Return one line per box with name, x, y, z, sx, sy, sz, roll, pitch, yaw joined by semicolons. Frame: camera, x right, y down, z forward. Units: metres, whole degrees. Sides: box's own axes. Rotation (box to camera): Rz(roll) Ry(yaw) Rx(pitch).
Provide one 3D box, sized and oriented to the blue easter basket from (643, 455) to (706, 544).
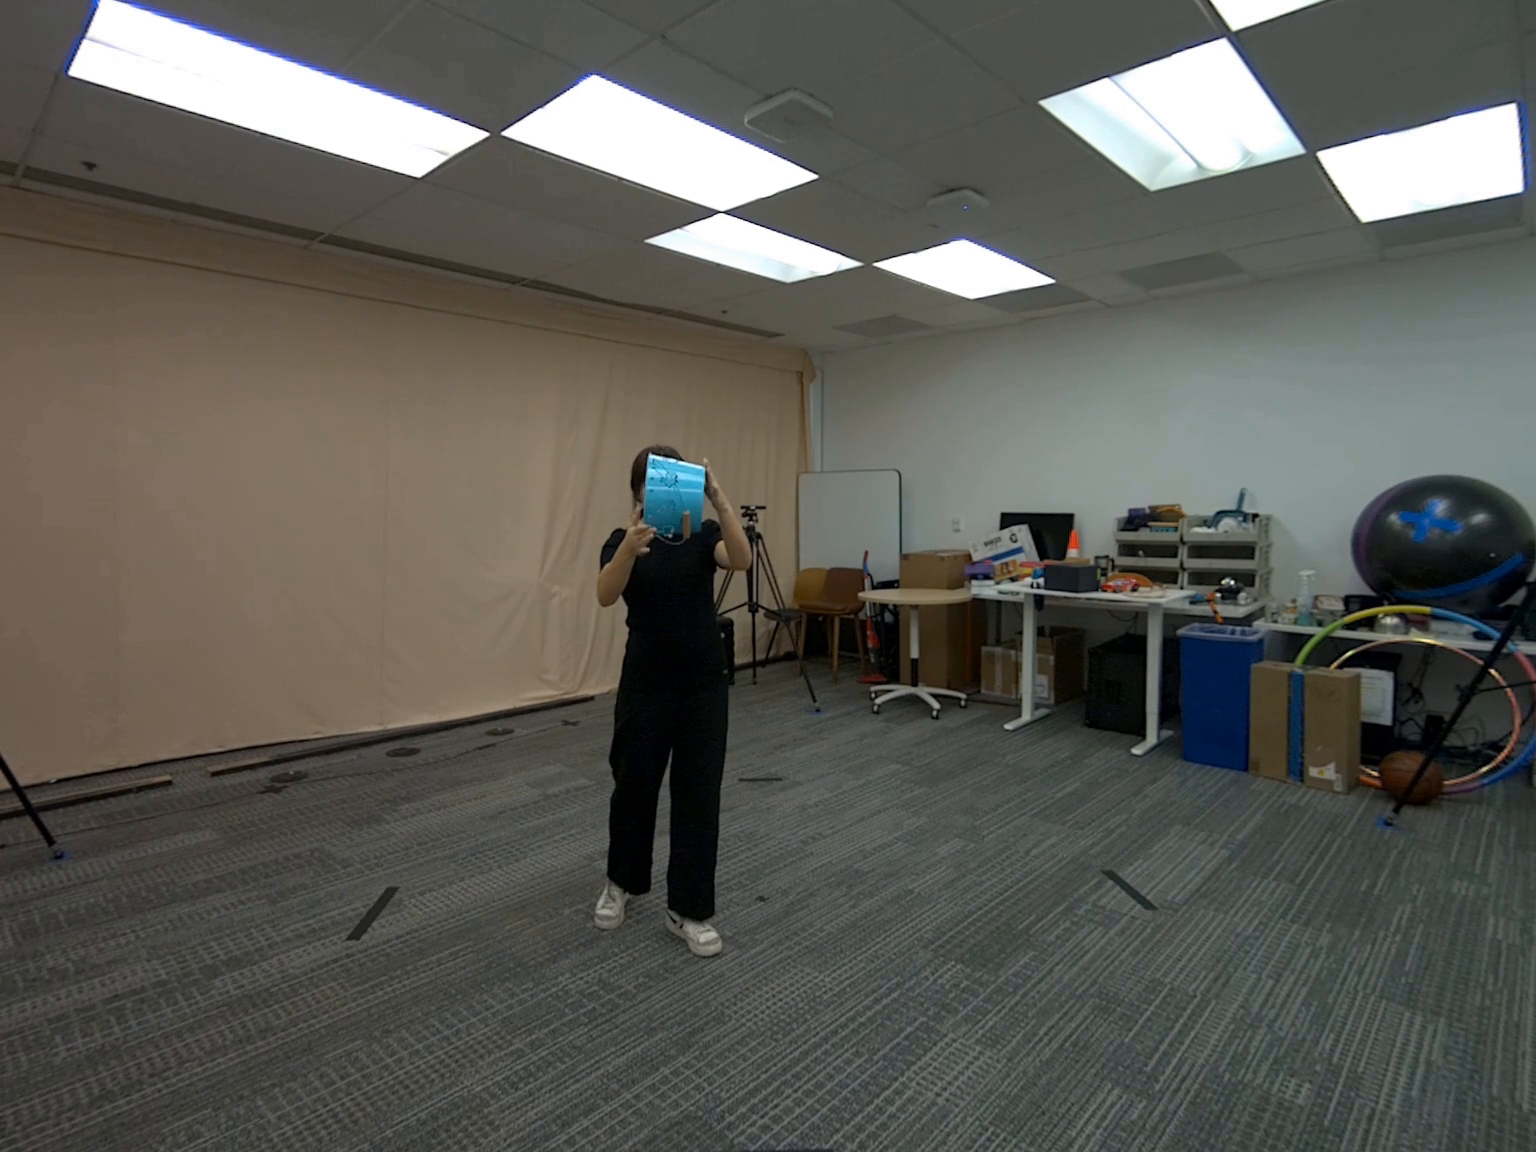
blue easter basket;-0.270;-0.204;2.291;0.155;0.243;0.245;4;3;-5
